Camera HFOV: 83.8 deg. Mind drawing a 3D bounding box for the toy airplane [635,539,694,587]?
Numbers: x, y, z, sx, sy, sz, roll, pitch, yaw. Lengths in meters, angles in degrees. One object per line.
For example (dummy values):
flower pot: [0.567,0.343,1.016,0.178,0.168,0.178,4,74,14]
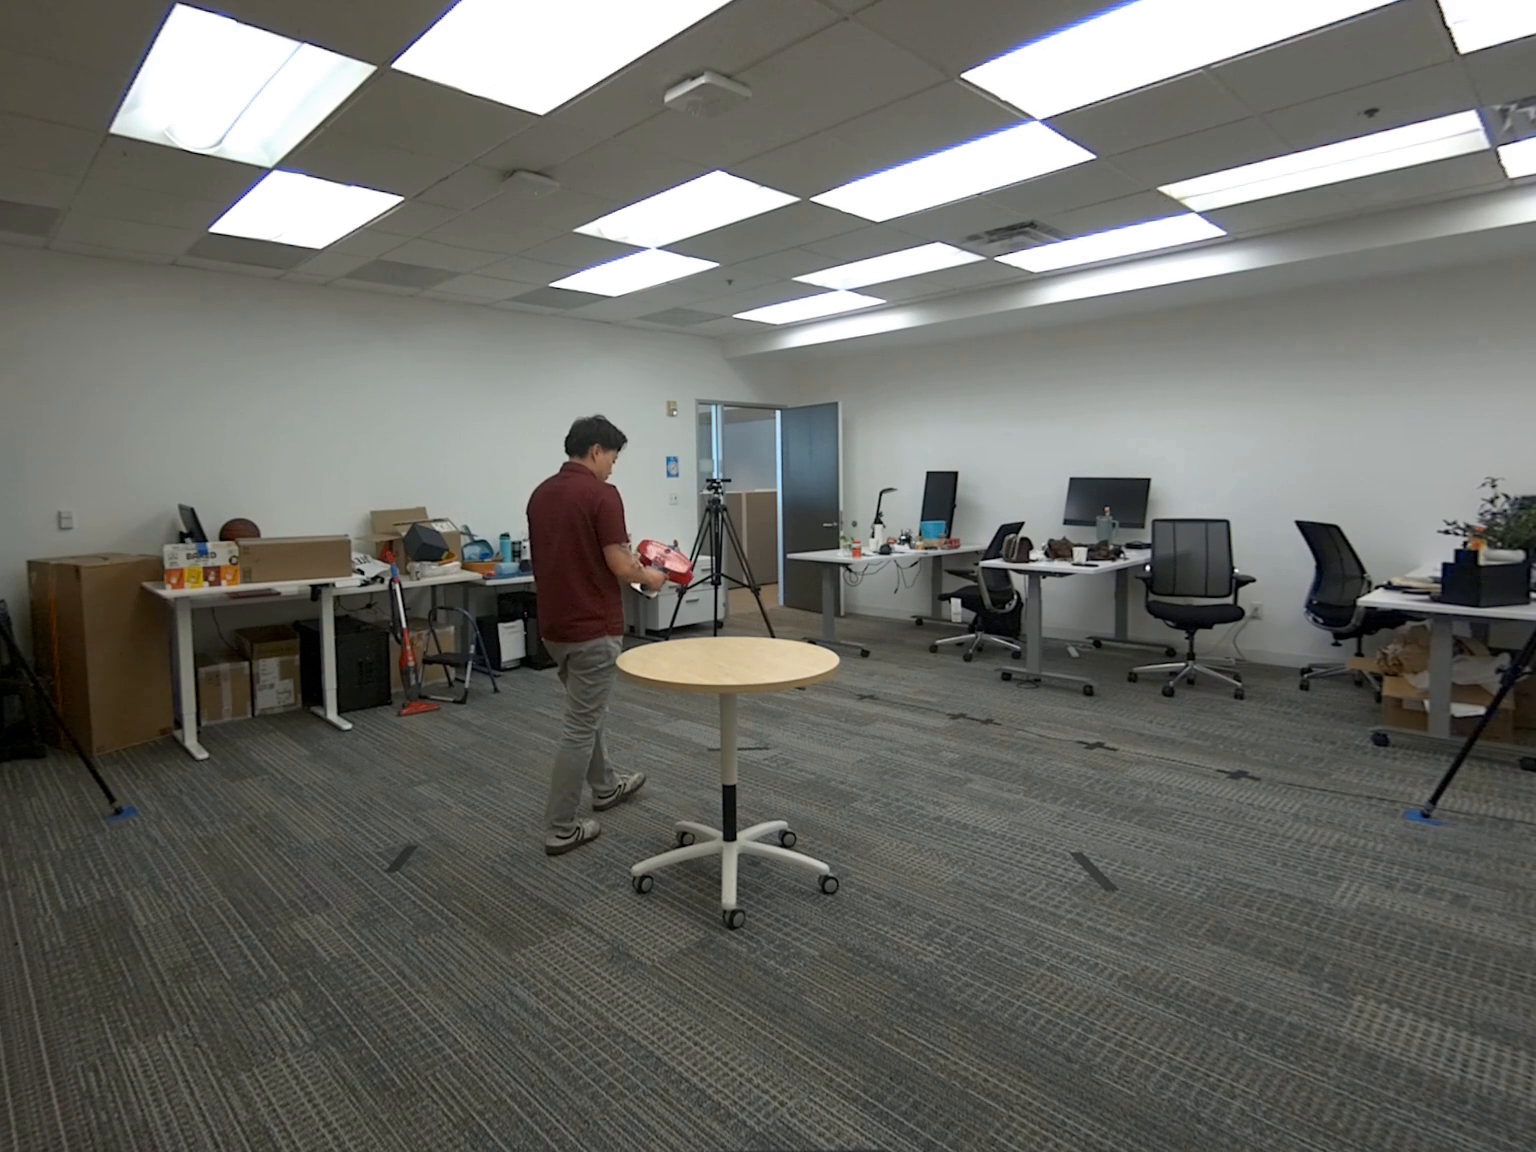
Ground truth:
toy airplane: [-0.430,-0.019,3.560,0.251,0.153,0.266,6,41,-2]
